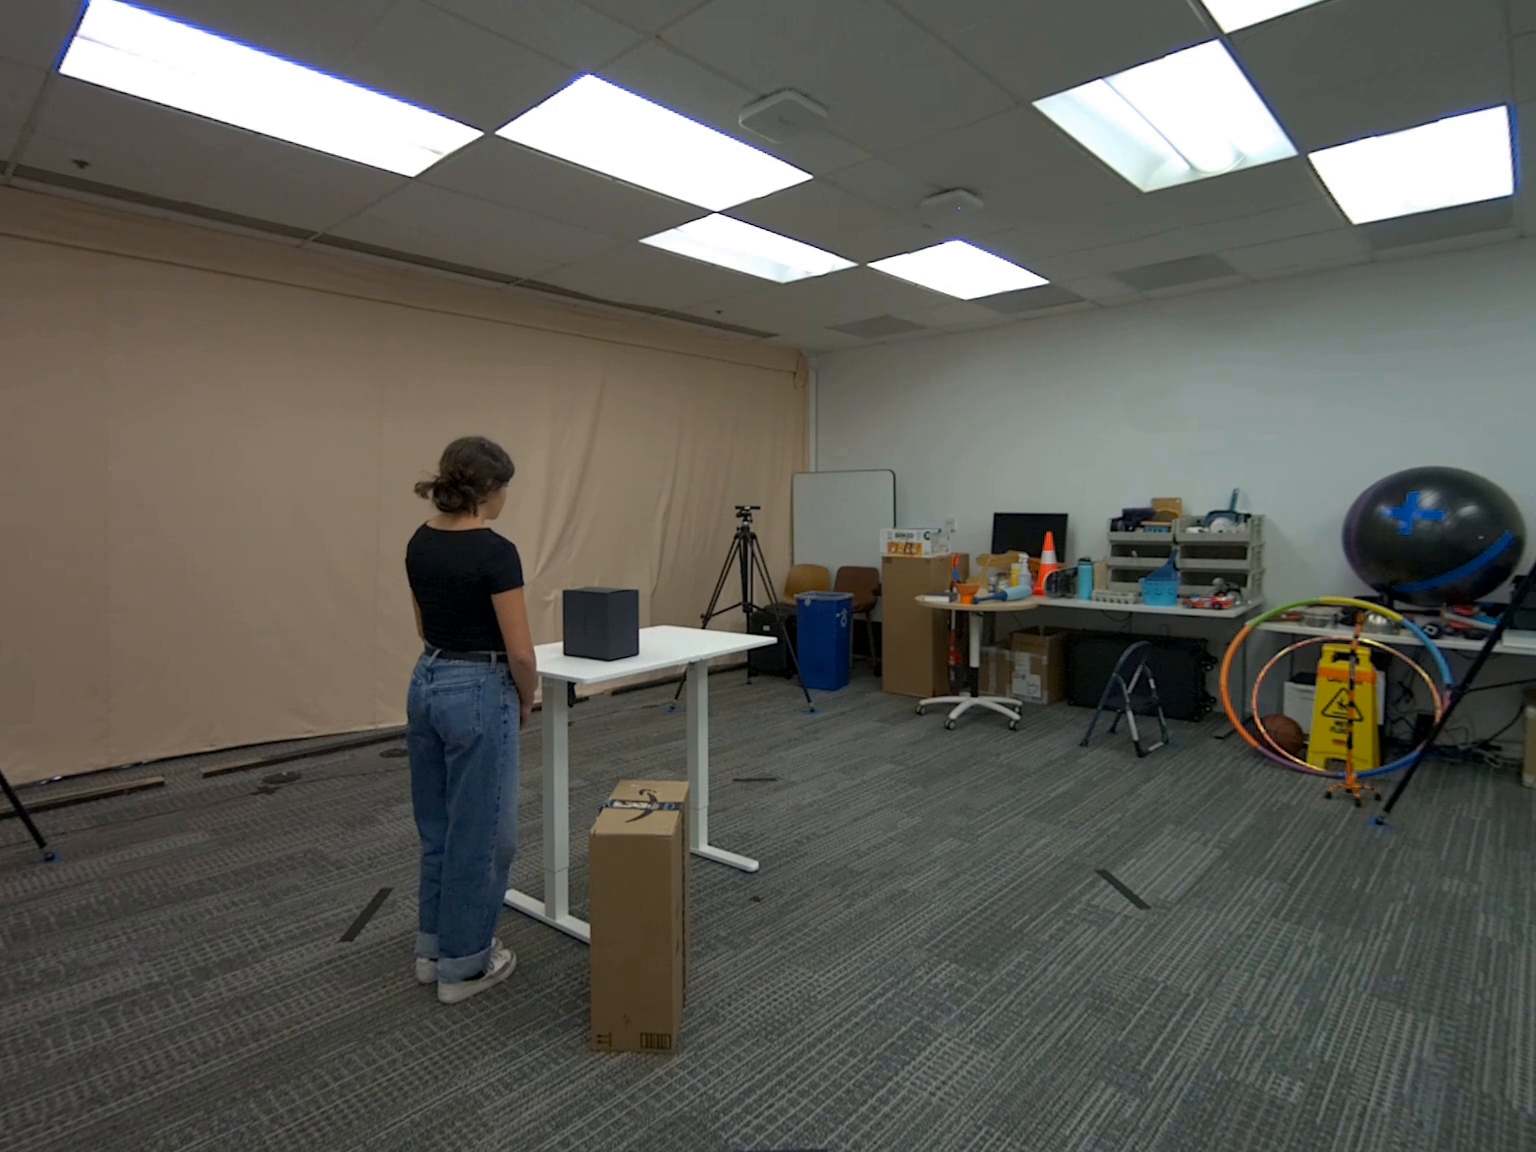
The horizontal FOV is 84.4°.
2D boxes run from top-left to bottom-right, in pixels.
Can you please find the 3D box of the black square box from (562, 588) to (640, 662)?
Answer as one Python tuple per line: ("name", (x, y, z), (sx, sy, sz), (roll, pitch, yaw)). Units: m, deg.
("black square box", (-0.571, 0.159, 2.889), (0.223, 0.227, 0.151), (2, 4, 33))
